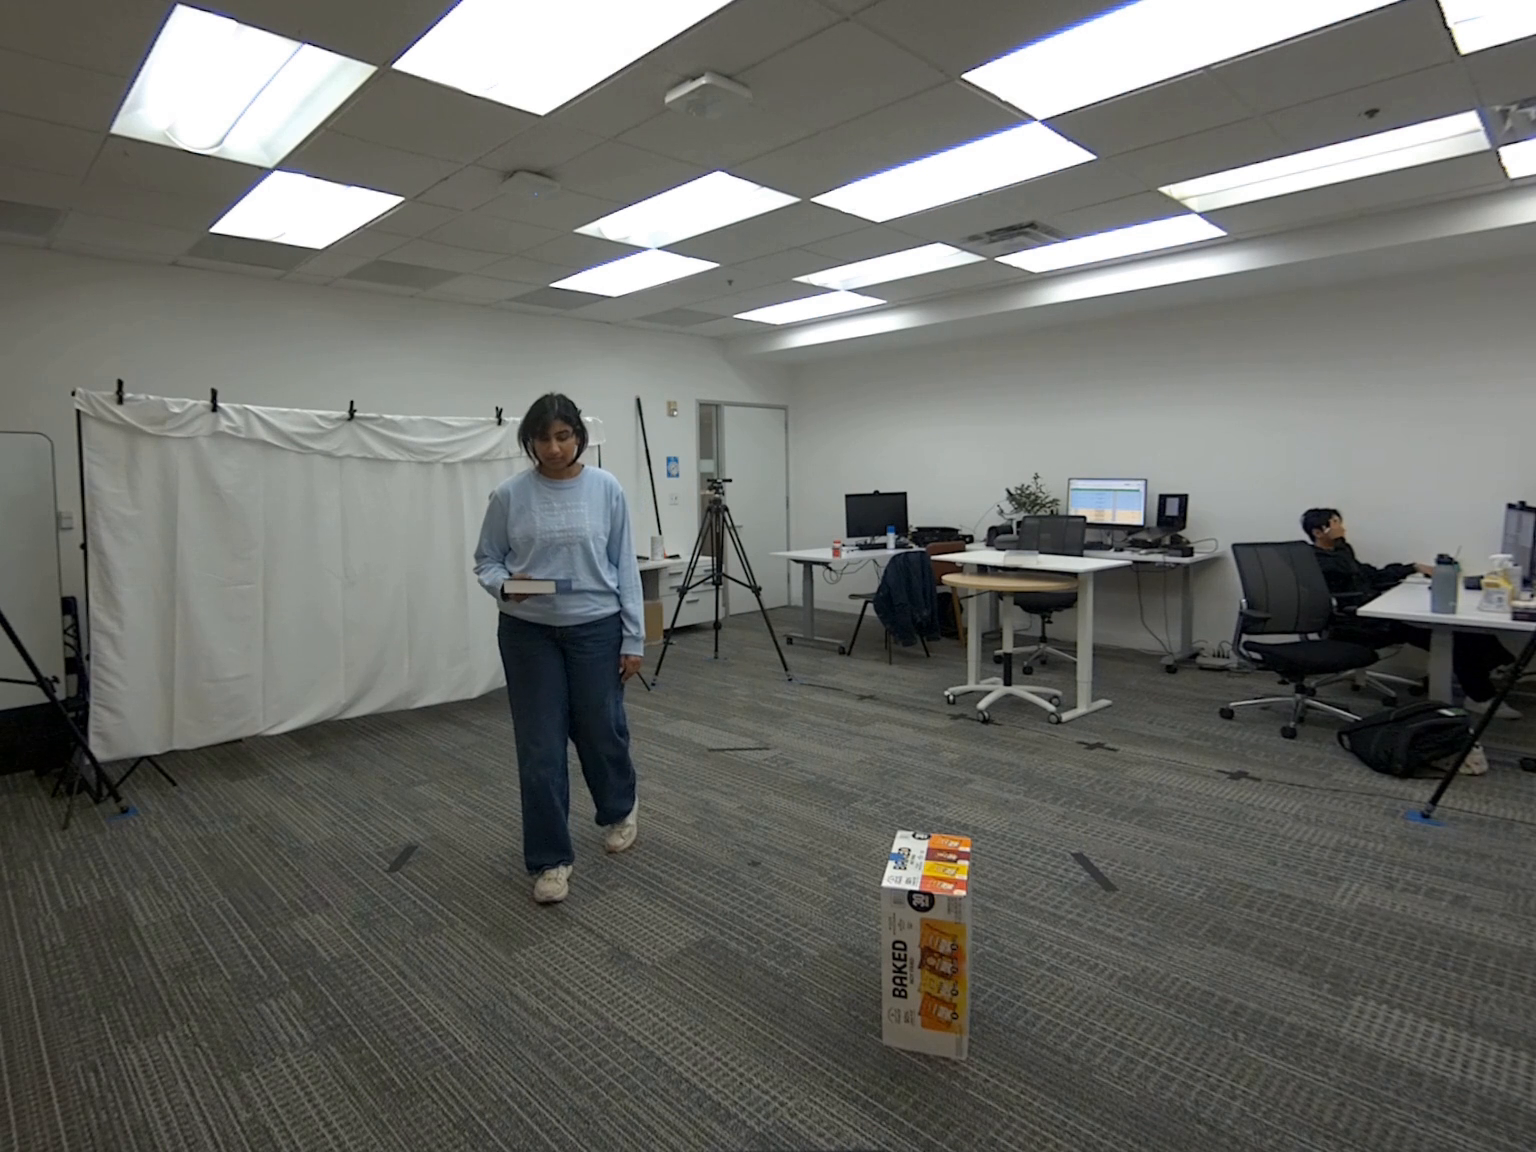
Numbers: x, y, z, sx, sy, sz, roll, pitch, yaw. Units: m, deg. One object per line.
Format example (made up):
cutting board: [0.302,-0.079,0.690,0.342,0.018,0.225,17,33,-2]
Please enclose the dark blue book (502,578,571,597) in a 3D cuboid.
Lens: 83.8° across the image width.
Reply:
dark blue book: [-0.725,0.027,2.661,0.164,0.045,0.244,-1,1,1]
